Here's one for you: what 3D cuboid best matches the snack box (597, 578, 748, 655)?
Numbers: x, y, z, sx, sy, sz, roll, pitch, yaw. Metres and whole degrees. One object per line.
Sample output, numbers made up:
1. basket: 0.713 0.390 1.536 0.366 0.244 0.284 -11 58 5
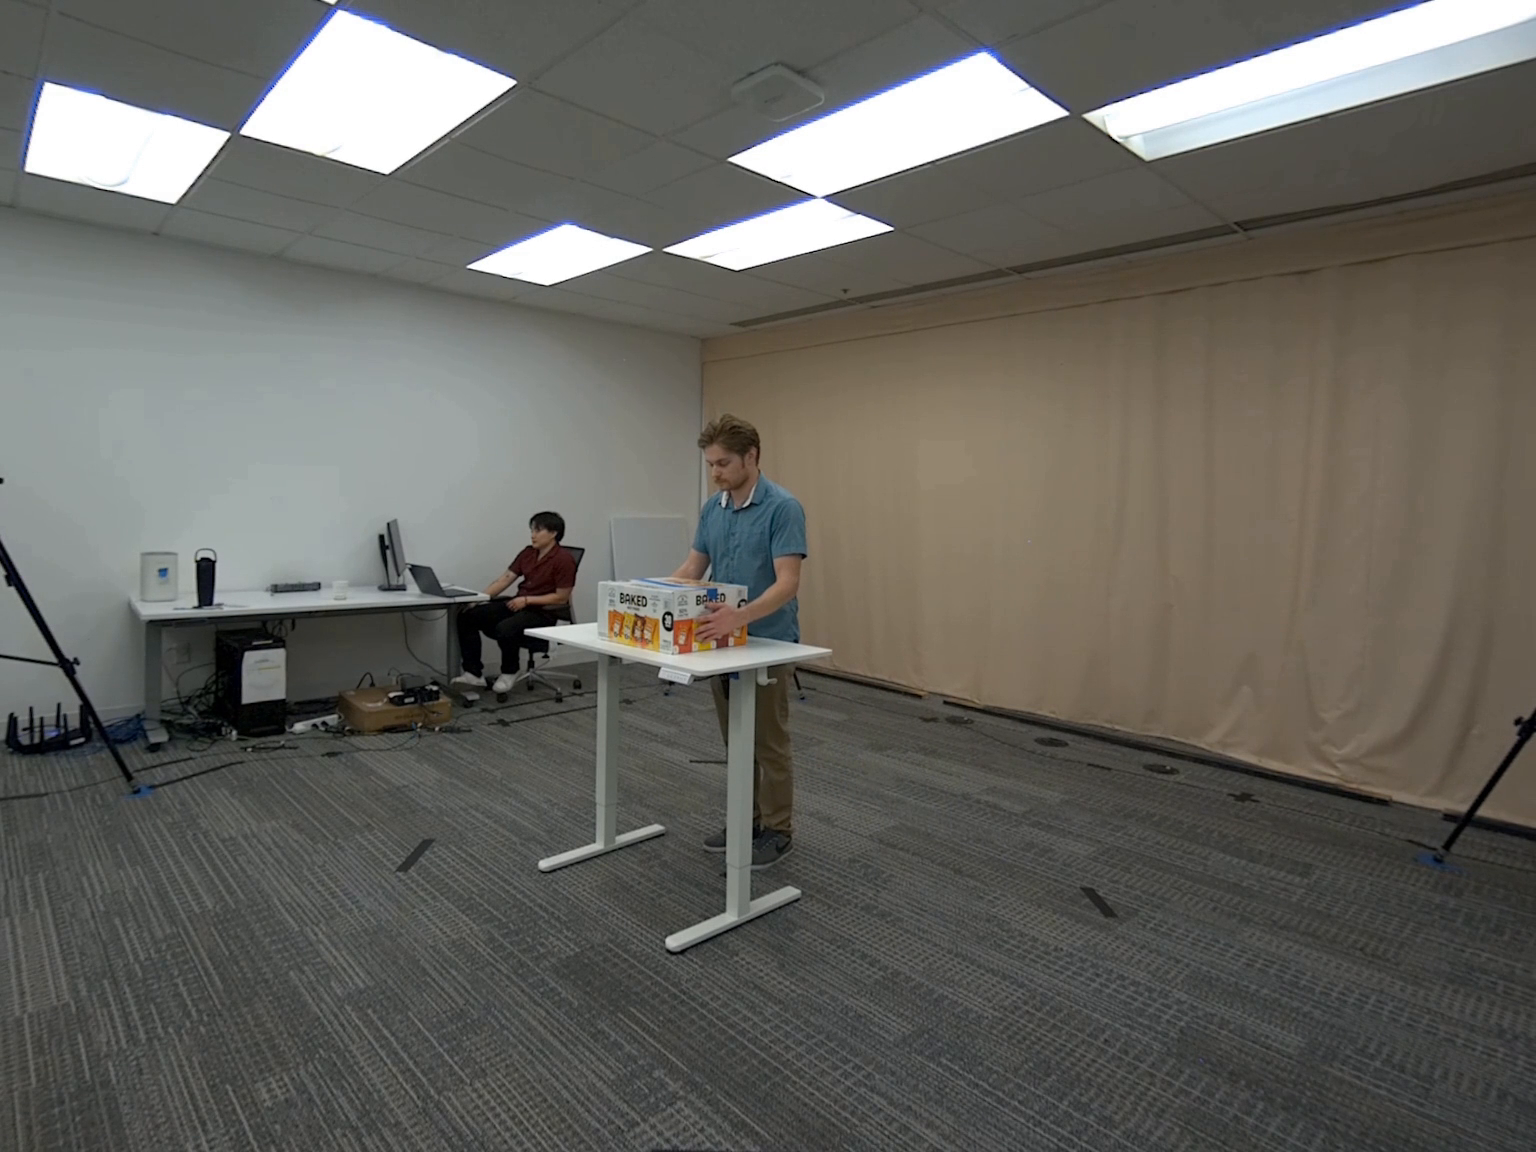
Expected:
1. snack box: -0.345 0.129 2.928 0.415 0.205 0.332 5 5 44
